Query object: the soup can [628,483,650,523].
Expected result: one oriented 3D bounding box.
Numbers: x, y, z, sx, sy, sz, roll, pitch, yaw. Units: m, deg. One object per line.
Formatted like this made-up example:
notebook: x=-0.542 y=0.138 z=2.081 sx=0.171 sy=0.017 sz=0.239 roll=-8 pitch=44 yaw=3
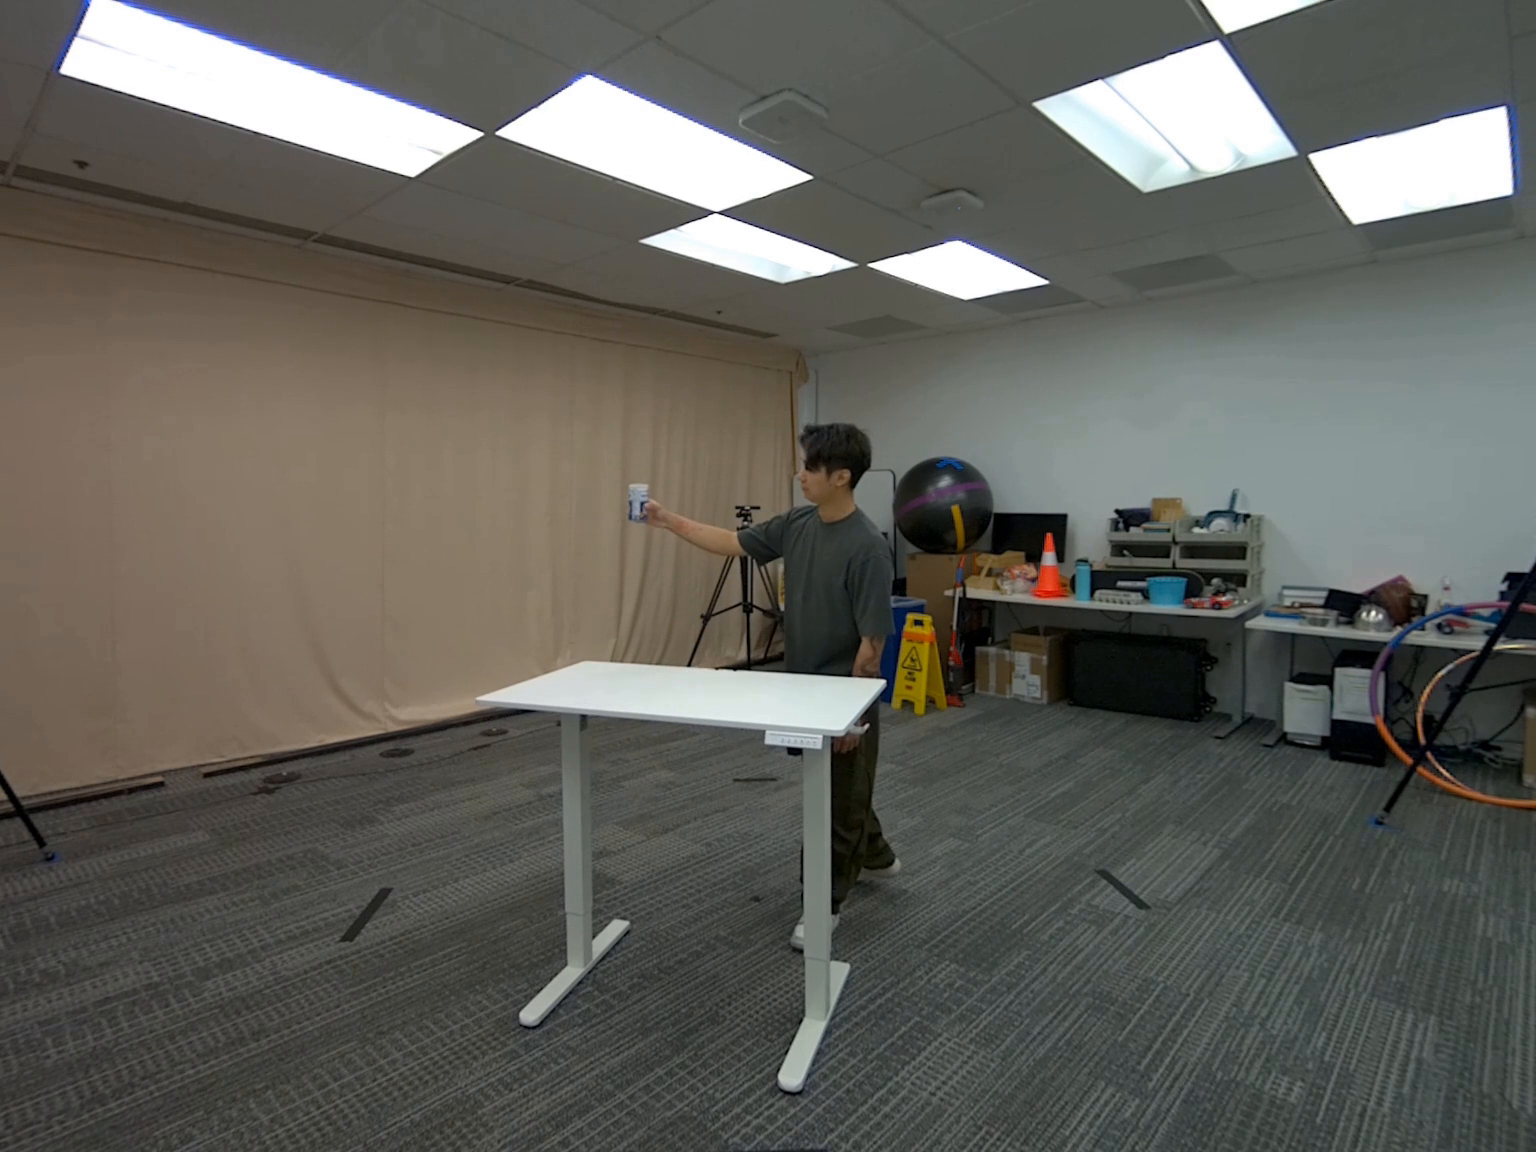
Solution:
soup can: x=-0.419 y=-0.241 z=2.782 sx=0.067 sy=0.121 sz=0.067 roll=2 pitch=7 yaw=-2
